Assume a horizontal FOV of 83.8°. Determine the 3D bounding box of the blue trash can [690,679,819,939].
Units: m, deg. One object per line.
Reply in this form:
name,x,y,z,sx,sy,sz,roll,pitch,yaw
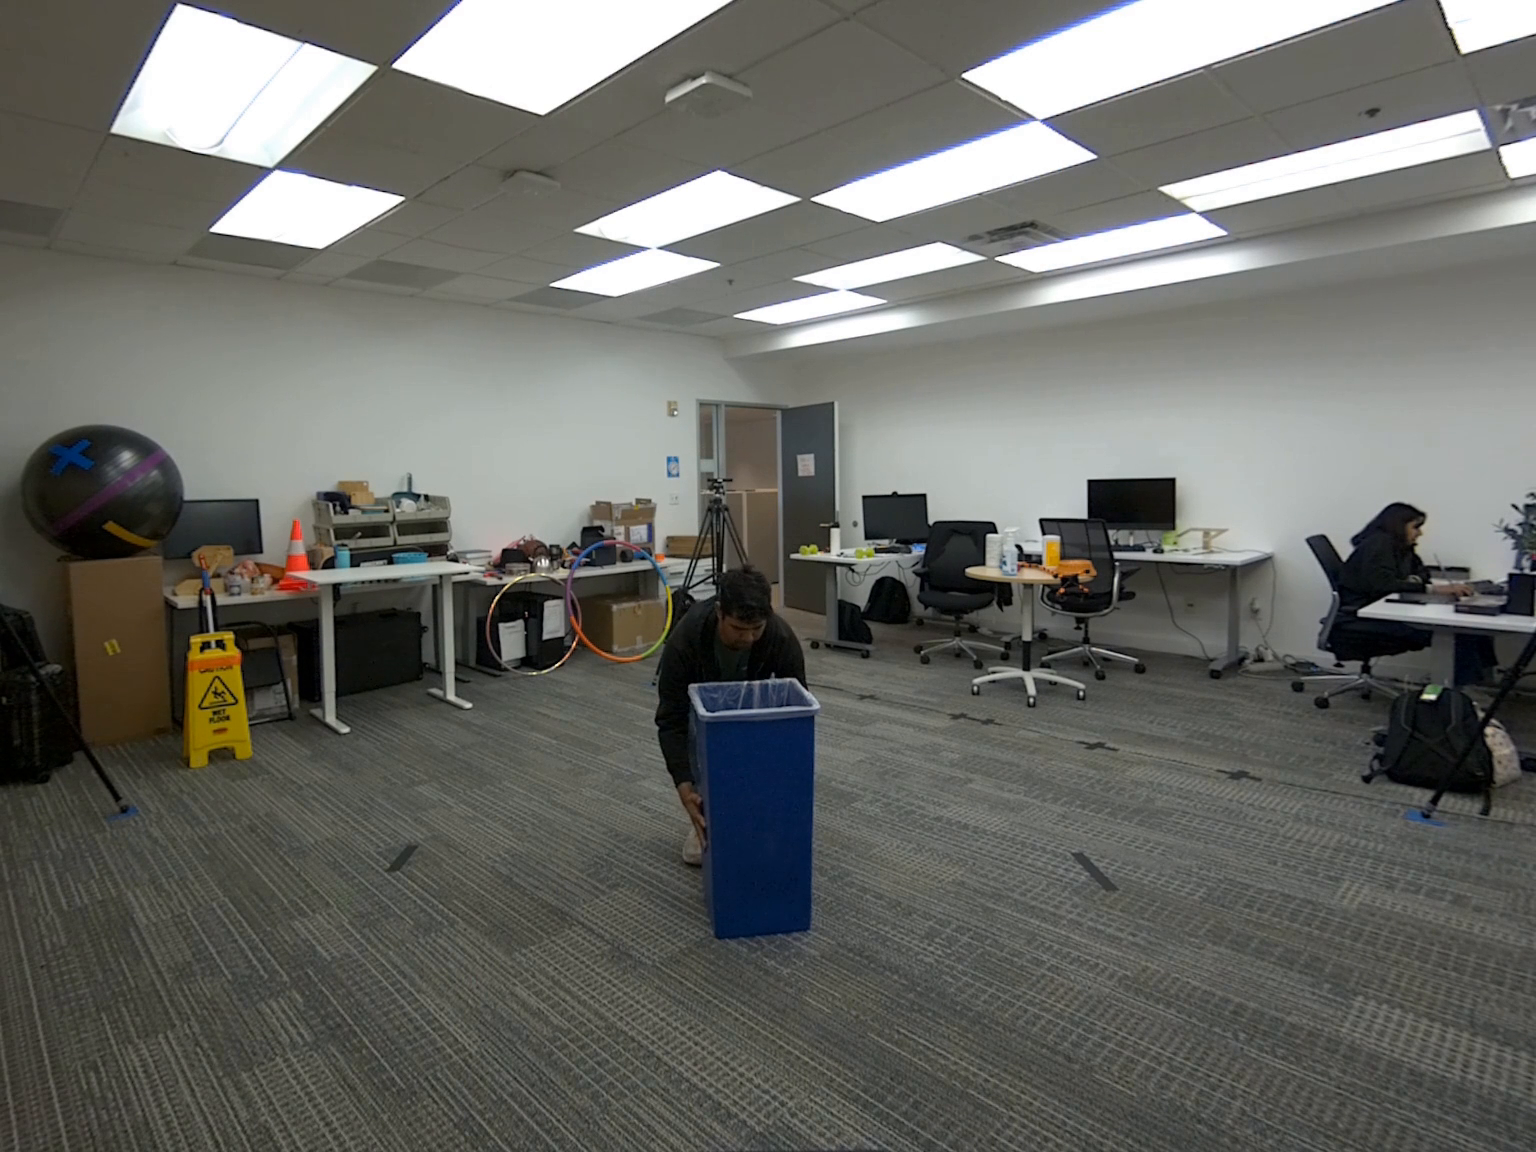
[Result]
blue trash can,-0.046,0.729,2.734,0.375,0.711,0.379,-2,5,-10
